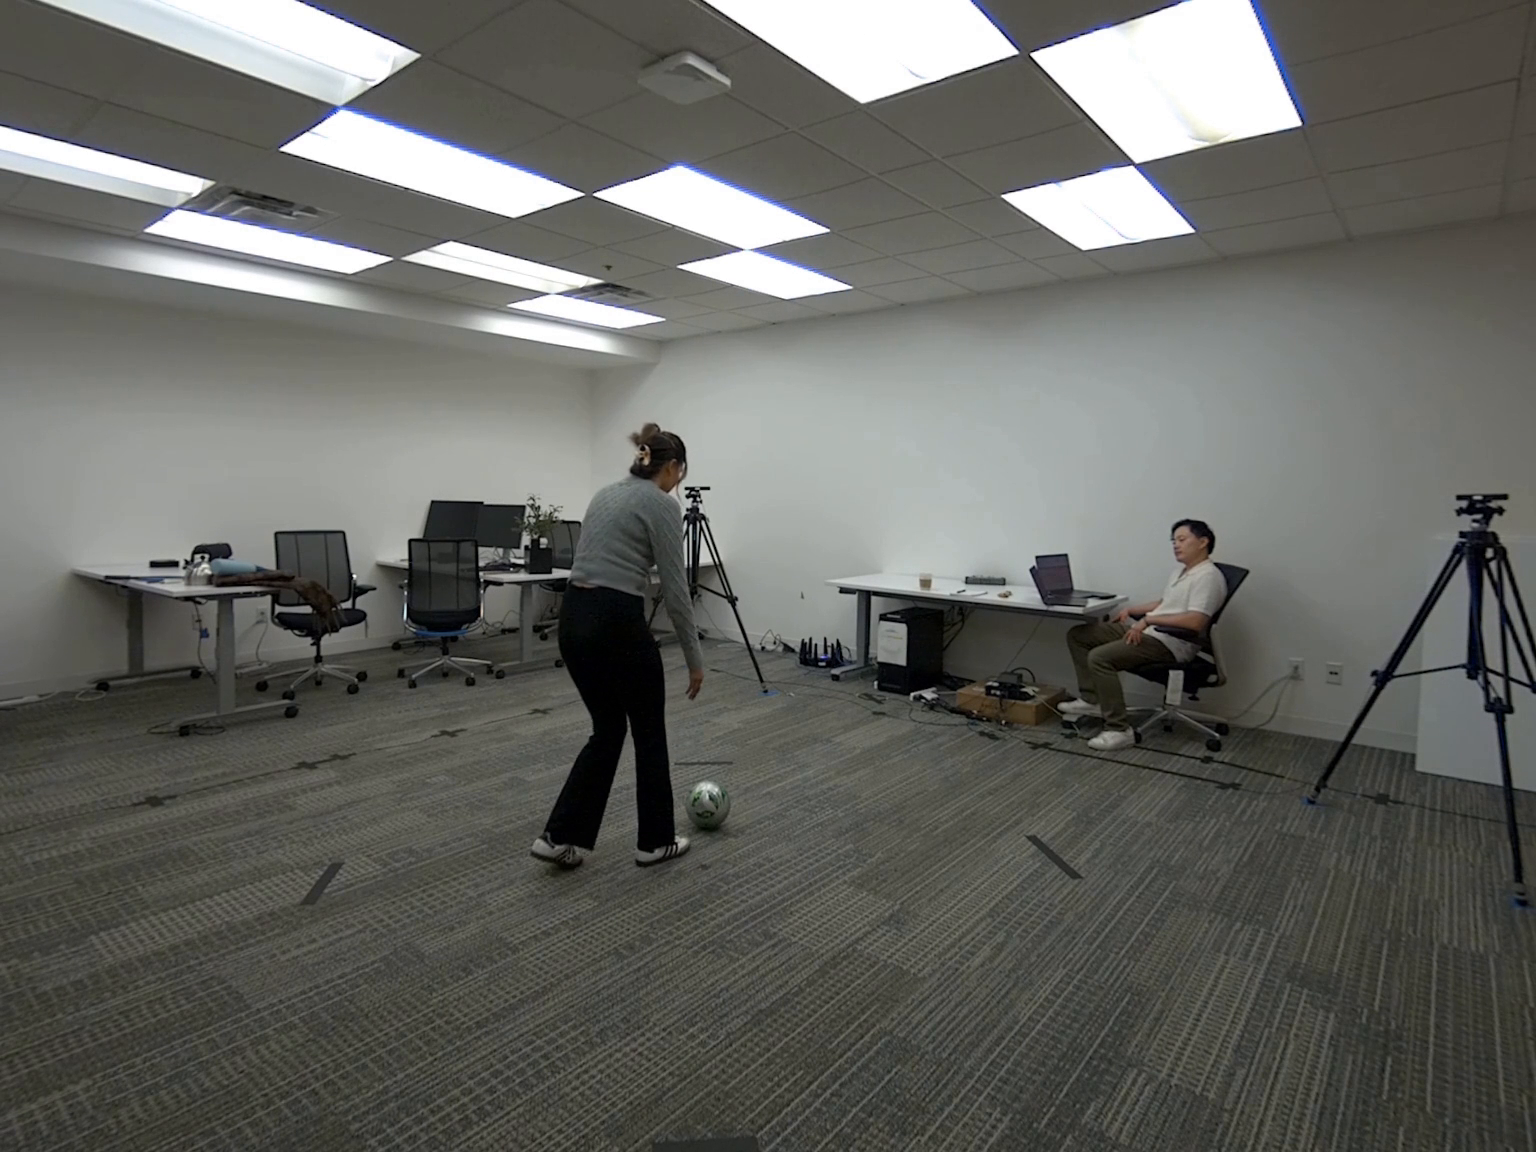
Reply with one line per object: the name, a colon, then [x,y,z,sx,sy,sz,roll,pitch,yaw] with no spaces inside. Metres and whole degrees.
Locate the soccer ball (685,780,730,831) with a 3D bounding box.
soccer ball: [-0.255,0.932,3.488,0.187,0.187,0.188,1,4,-2]
